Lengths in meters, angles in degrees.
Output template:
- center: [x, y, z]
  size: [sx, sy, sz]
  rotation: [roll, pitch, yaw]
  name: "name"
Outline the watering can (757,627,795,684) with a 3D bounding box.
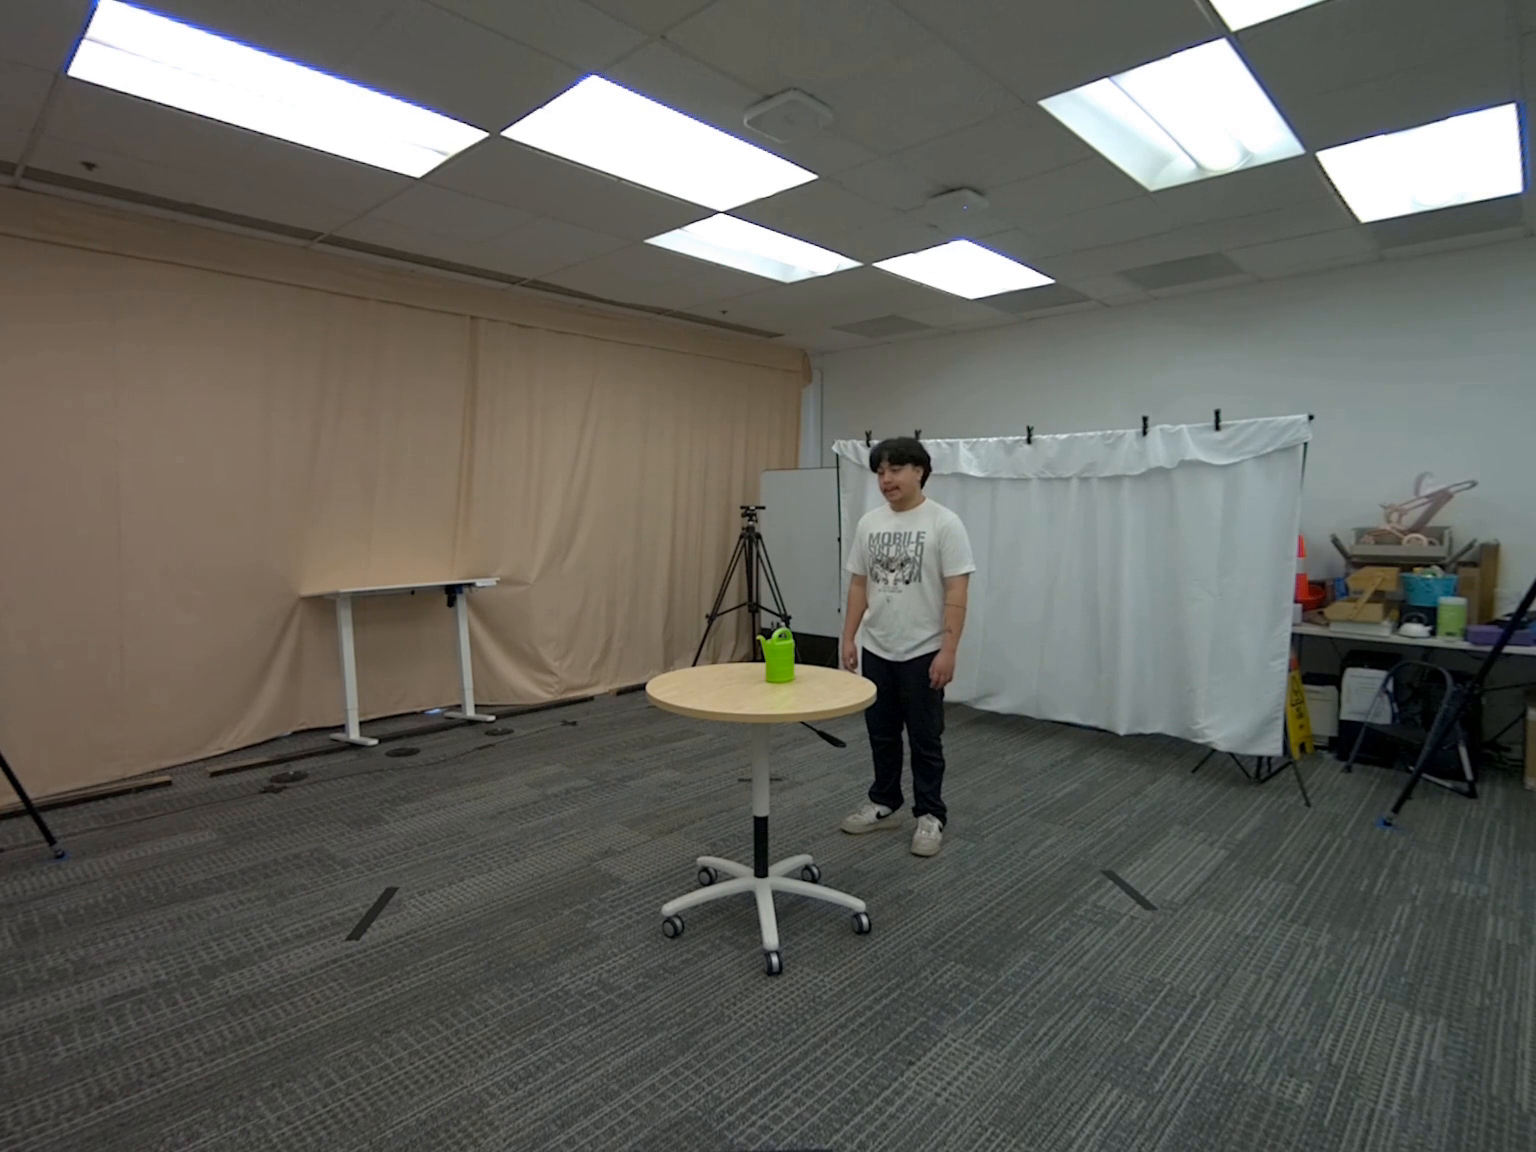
- center: [0.020, 0.276, 2.858]
  size: [0.101, 0.176, 0.270]
  rotation: [6, 6, 38]
  name: "watering can"
